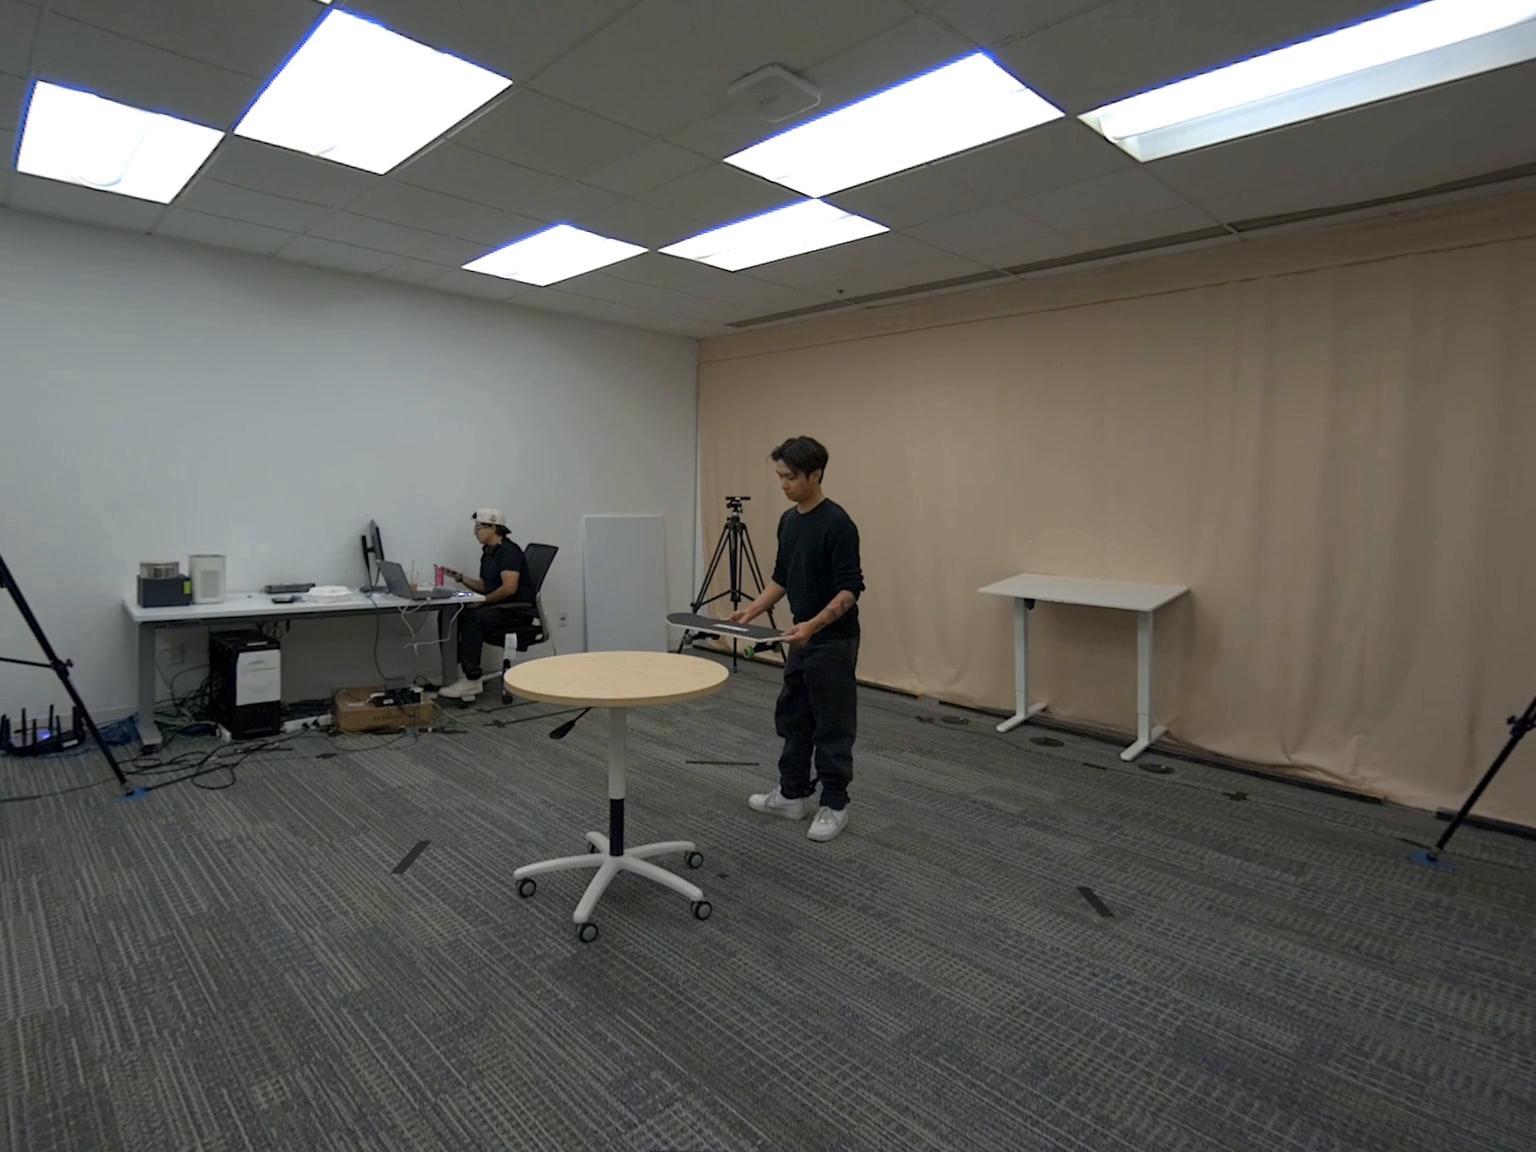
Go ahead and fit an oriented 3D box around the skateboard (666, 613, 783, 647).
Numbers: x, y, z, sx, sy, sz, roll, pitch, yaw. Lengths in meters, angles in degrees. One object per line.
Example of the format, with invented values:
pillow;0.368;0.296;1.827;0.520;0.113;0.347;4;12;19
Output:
skateboard;-0.168;0.257;3.525;0.189;0.110;0.806;-8;10;-42
